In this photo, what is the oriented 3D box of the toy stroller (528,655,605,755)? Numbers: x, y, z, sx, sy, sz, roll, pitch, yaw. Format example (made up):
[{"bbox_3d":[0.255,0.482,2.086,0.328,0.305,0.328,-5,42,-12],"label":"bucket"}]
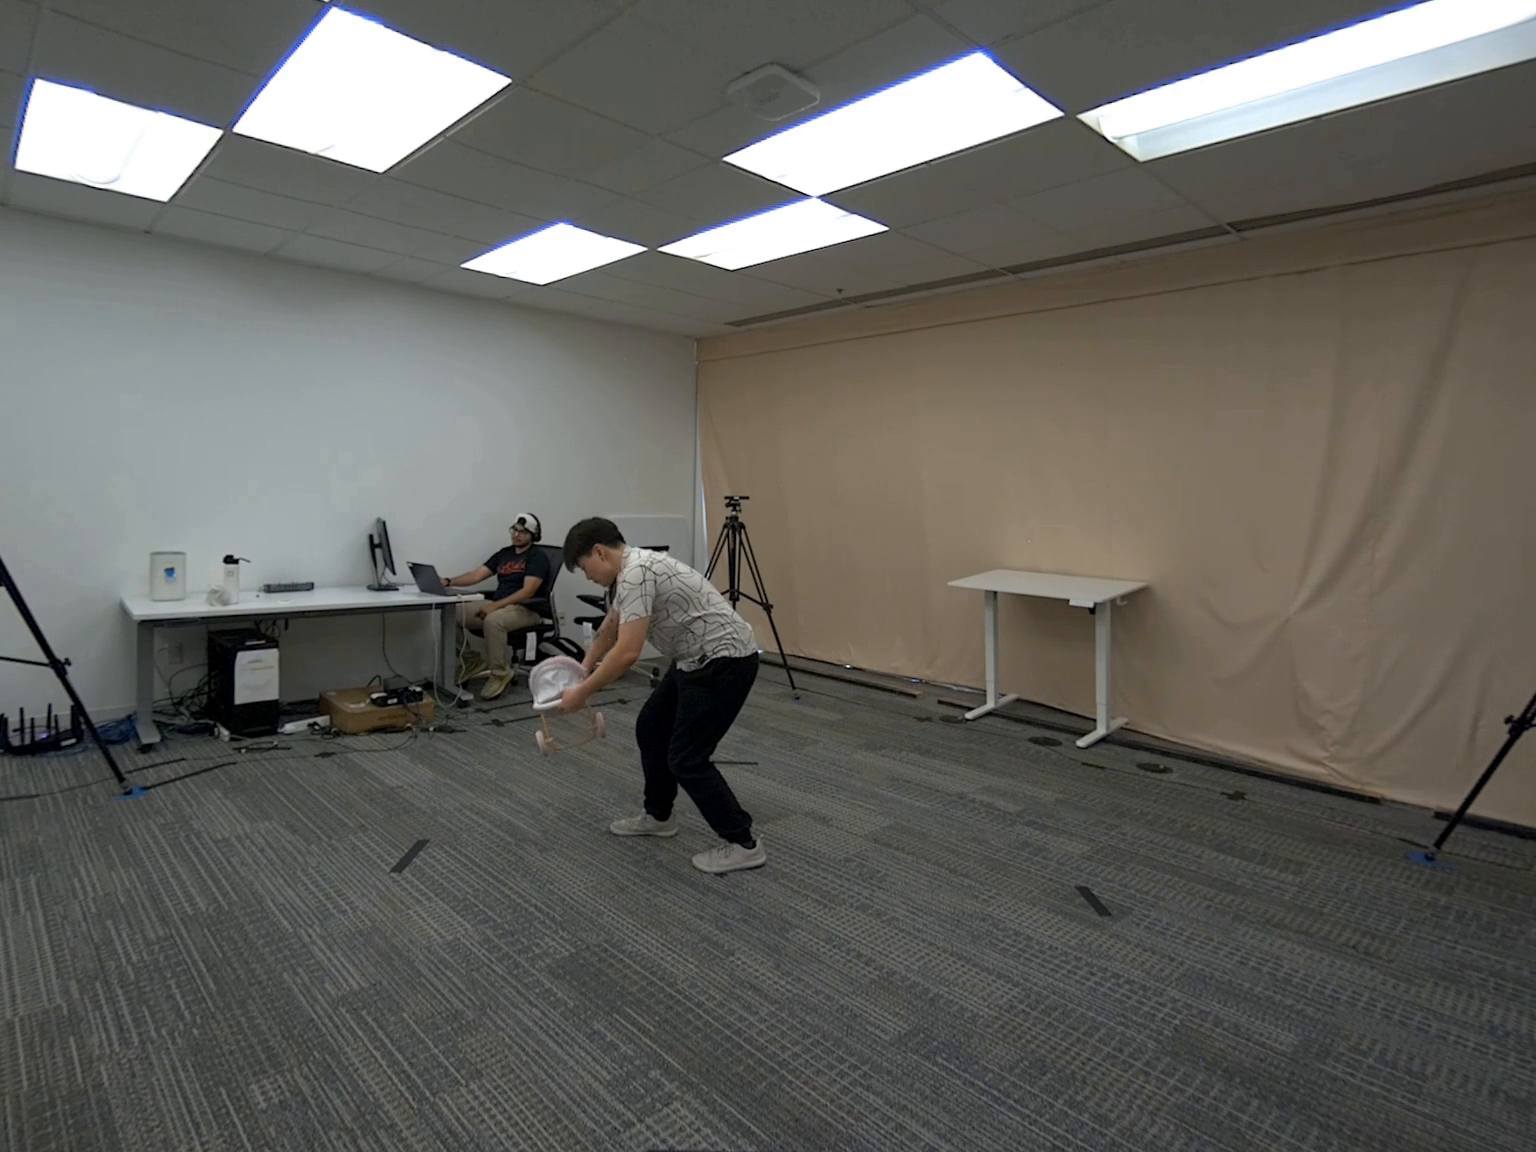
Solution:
[{"bbox_3d":[-0.839,0.480,3.410,0.279,0.350,0.525,-12,-32,-12],"label":"toy stroller"}]
